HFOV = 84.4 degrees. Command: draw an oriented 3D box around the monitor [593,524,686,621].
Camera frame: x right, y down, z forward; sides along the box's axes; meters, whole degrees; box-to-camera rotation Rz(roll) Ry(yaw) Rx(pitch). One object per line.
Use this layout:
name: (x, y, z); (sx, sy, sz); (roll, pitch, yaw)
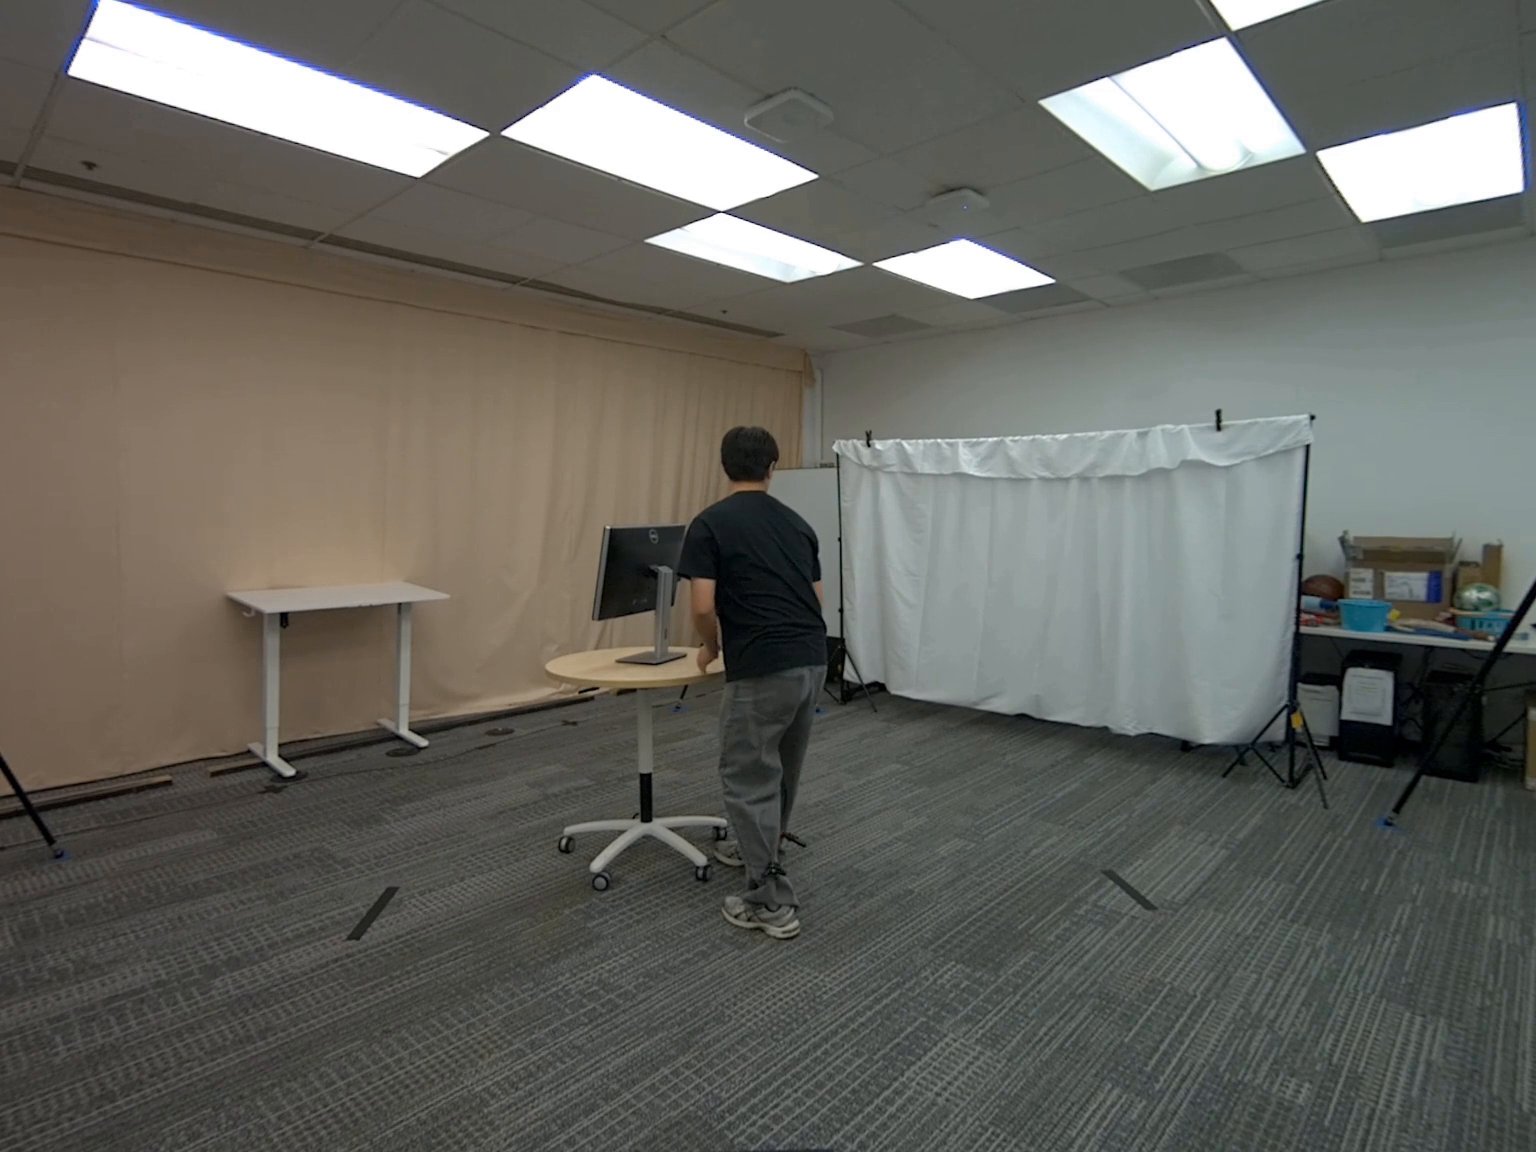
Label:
monitor: (-0.476, 0.076, 3.378); (0.228, 0.565, 0.547); (-3, 2, 30)
